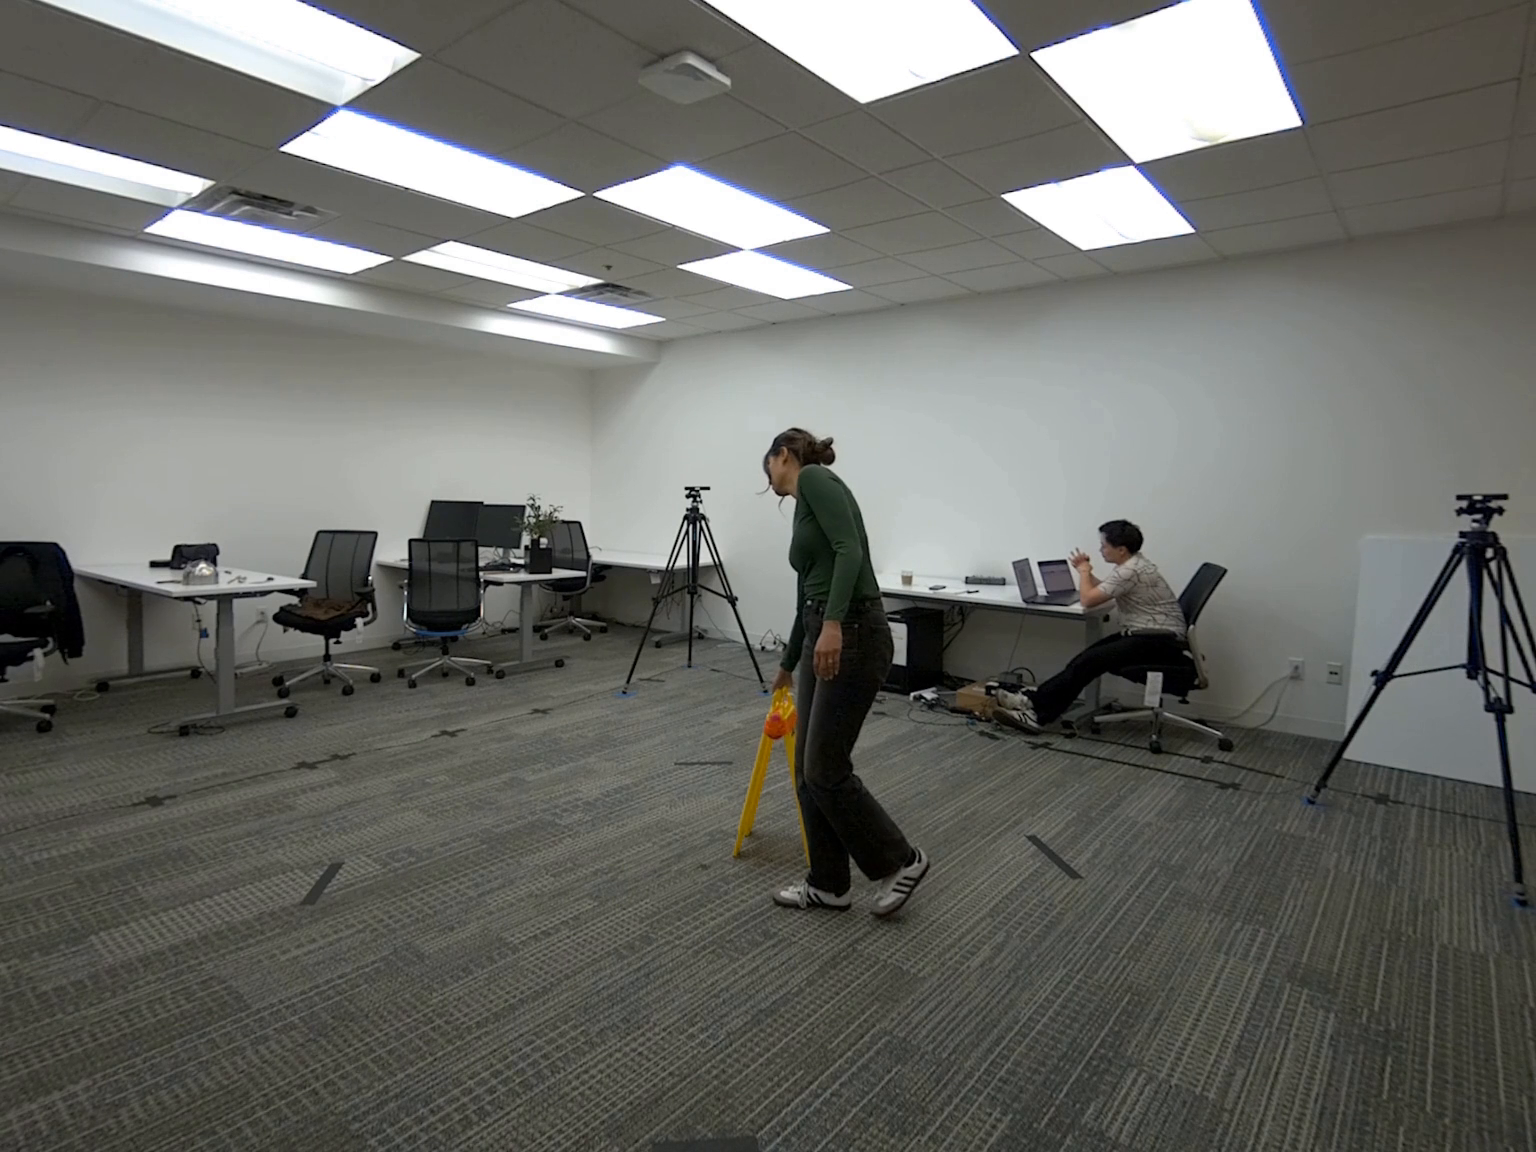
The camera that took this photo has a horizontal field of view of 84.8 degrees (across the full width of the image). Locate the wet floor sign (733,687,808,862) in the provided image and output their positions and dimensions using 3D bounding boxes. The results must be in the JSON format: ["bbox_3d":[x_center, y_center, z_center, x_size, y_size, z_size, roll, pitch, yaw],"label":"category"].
[{"bbox_3d":[0.033,0.728,3.278,0.294,0.645,0.278,1,1,13],"label":"wet floor sign"}]
